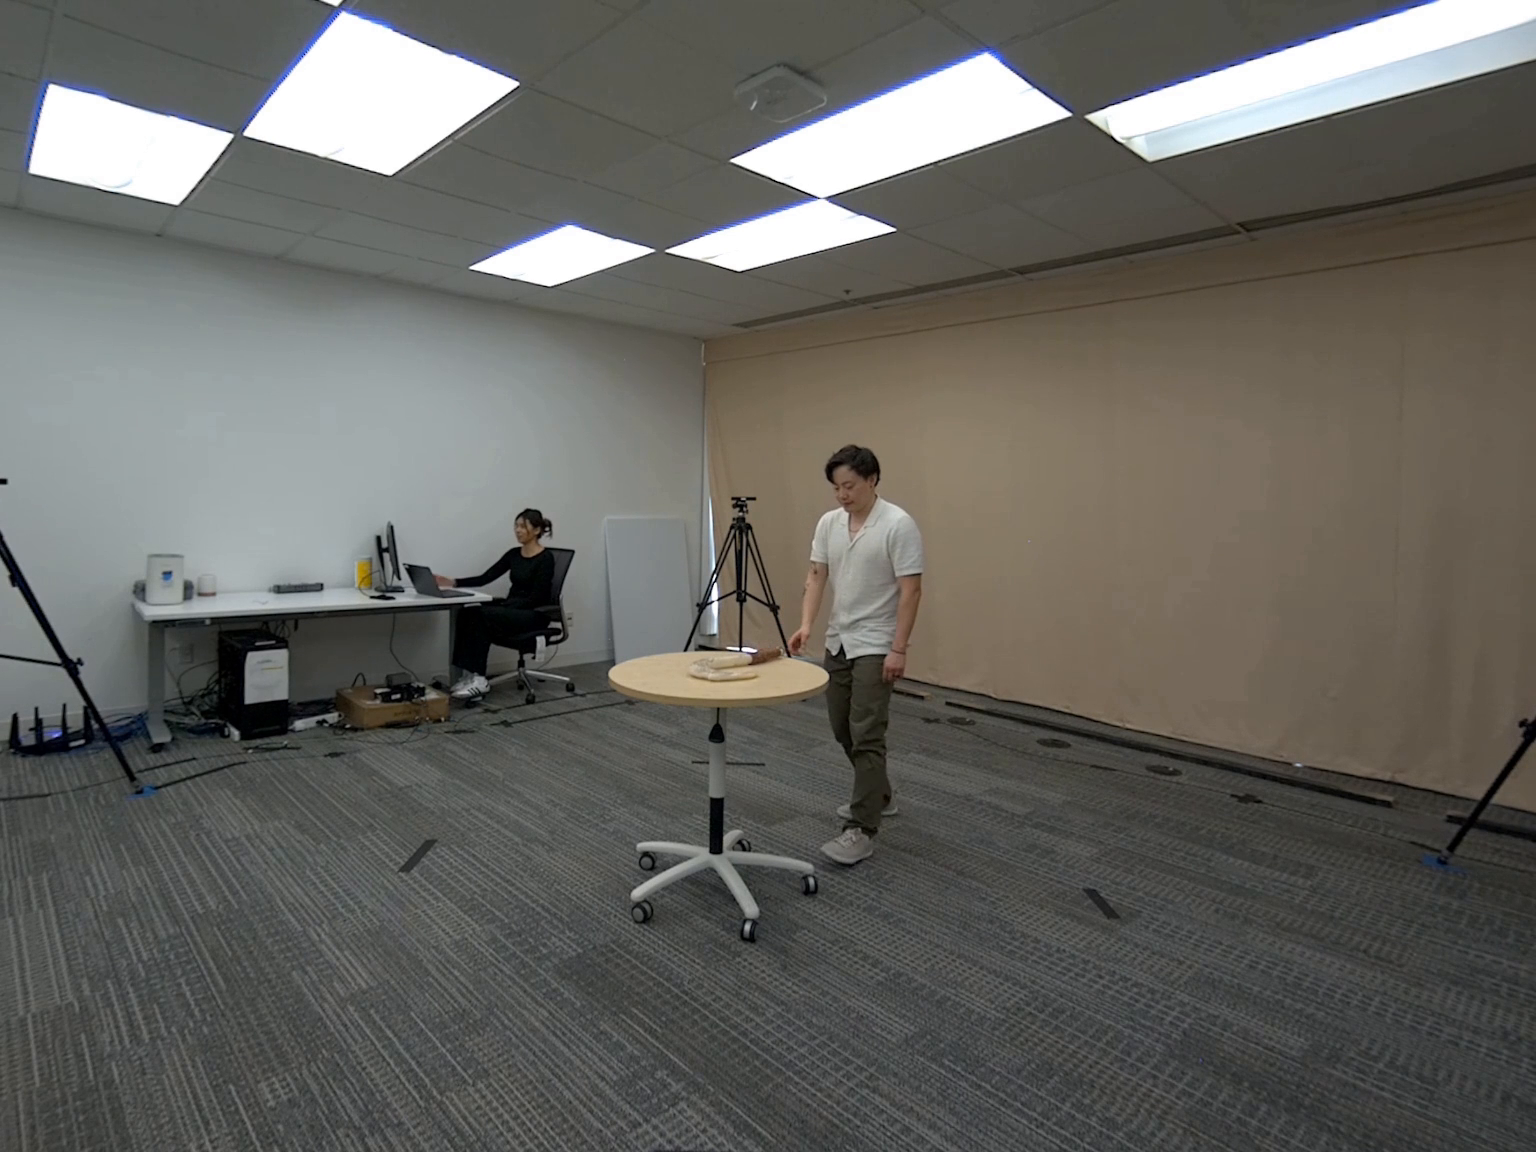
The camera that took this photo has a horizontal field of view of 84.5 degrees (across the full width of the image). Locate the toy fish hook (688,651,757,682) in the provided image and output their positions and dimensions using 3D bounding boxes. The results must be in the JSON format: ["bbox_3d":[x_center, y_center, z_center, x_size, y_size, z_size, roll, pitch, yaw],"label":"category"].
[{"bbox_3d":[-0.071,0.324,2.999,0.231,0.048,0.496,15,14,37],"label":"toy fish hook"}]
